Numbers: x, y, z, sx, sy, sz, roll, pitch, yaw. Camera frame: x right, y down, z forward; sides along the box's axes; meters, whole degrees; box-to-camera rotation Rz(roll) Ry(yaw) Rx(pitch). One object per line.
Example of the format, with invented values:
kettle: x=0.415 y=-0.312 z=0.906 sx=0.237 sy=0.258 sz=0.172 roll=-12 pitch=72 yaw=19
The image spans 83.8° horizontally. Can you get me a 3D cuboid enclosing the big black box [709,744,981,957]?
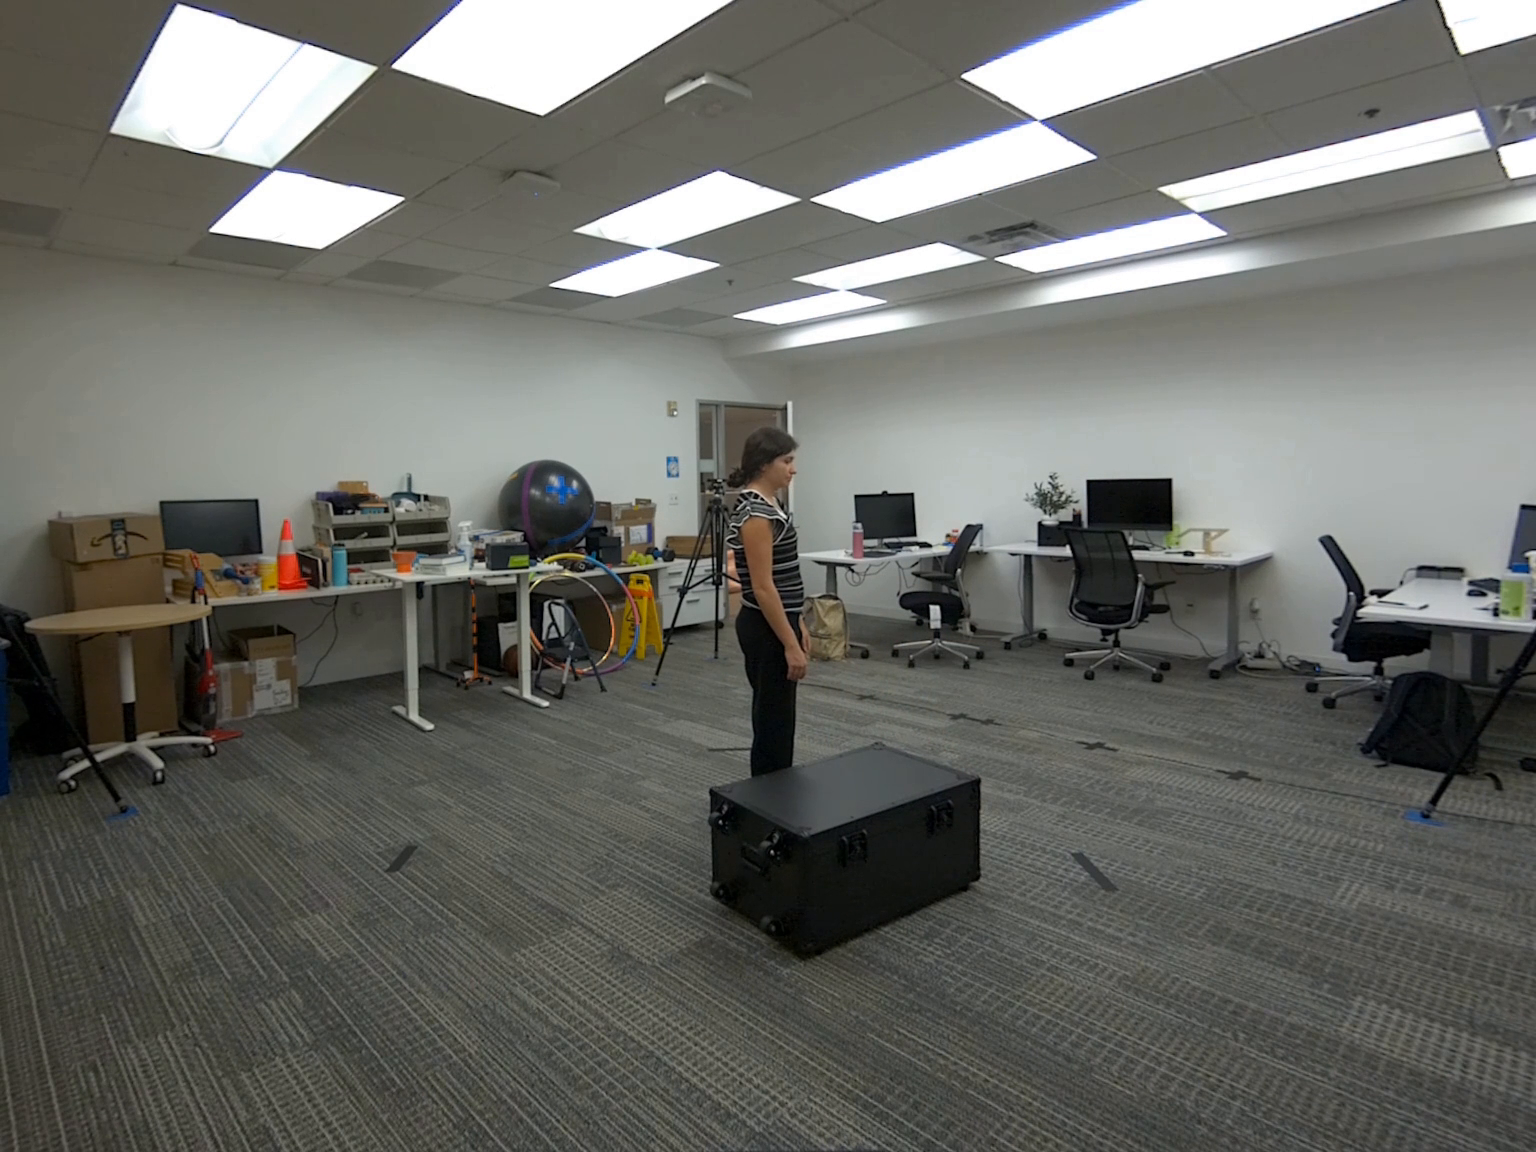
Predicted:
big black box: x=0.242 y=0.880 z=2.846 sx=0.839 sy=0.395 sz=0.537 roll=-5 pitch=6 yaw=-36
